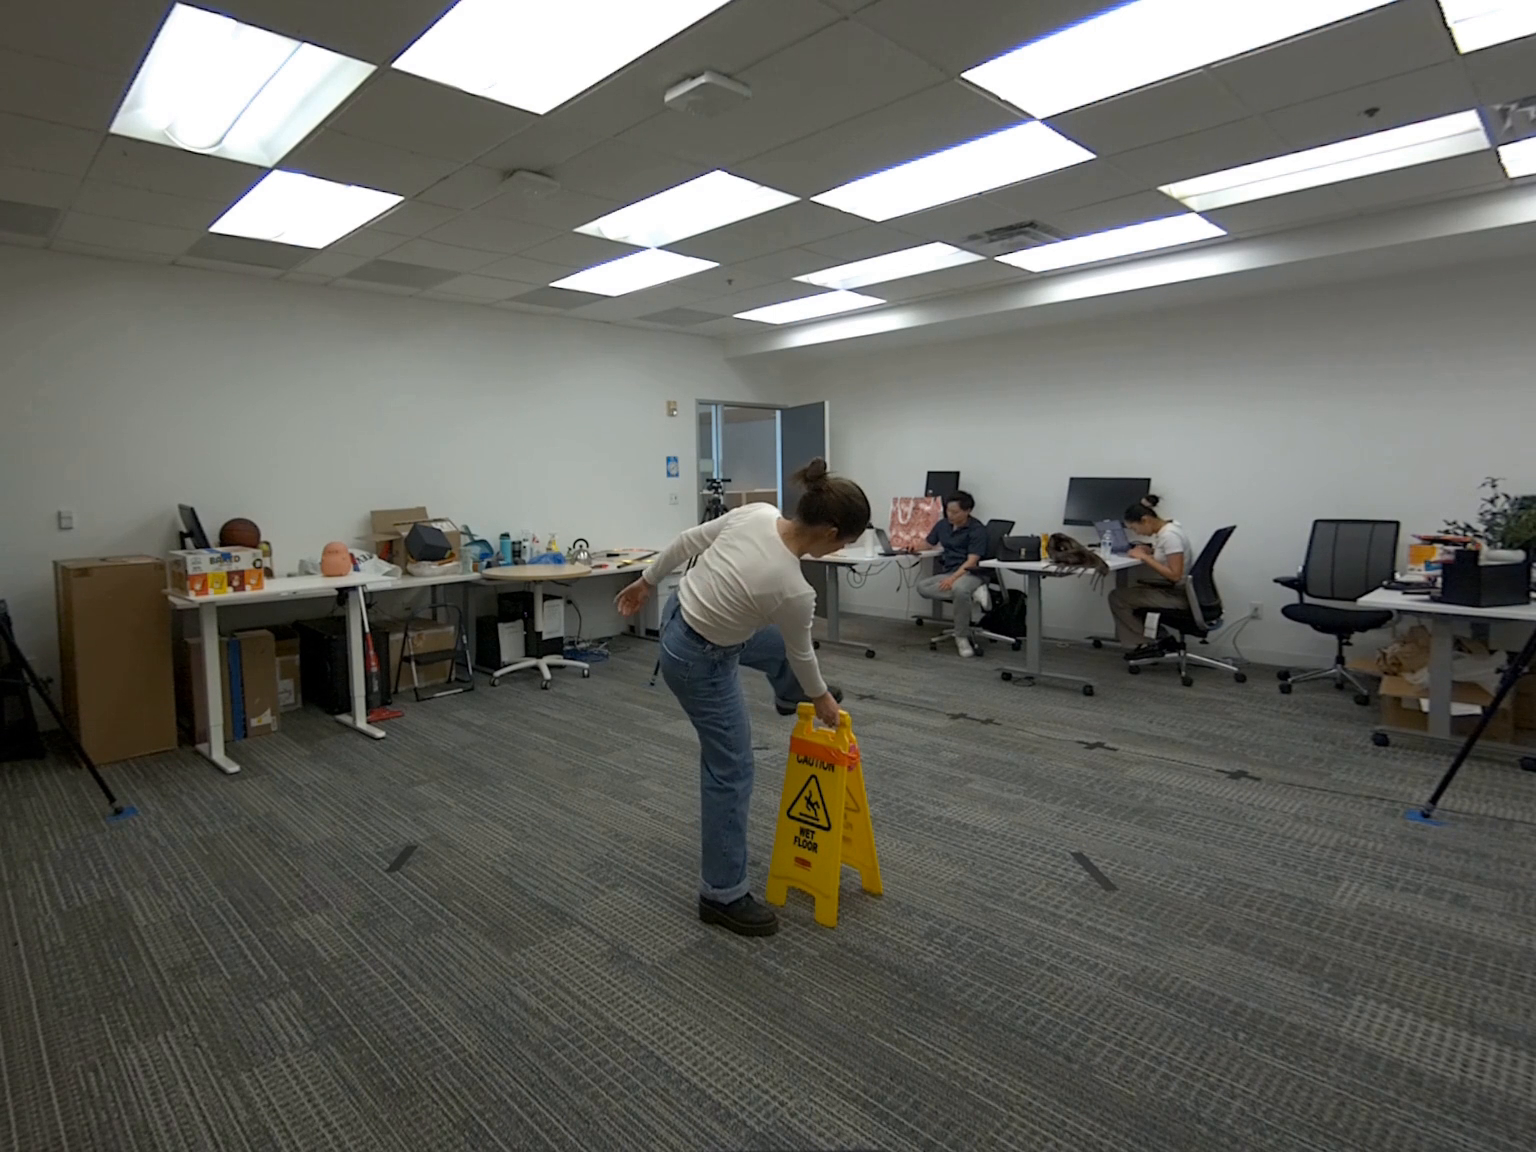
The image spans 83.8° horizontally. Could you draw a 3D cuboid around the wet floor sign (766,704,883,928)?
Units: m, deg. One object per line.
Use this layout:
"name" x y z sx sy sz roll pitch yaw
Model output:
"wet floor sign" 0.186 0.750 2.821 0.291 0.643 0.282 3 6 41
